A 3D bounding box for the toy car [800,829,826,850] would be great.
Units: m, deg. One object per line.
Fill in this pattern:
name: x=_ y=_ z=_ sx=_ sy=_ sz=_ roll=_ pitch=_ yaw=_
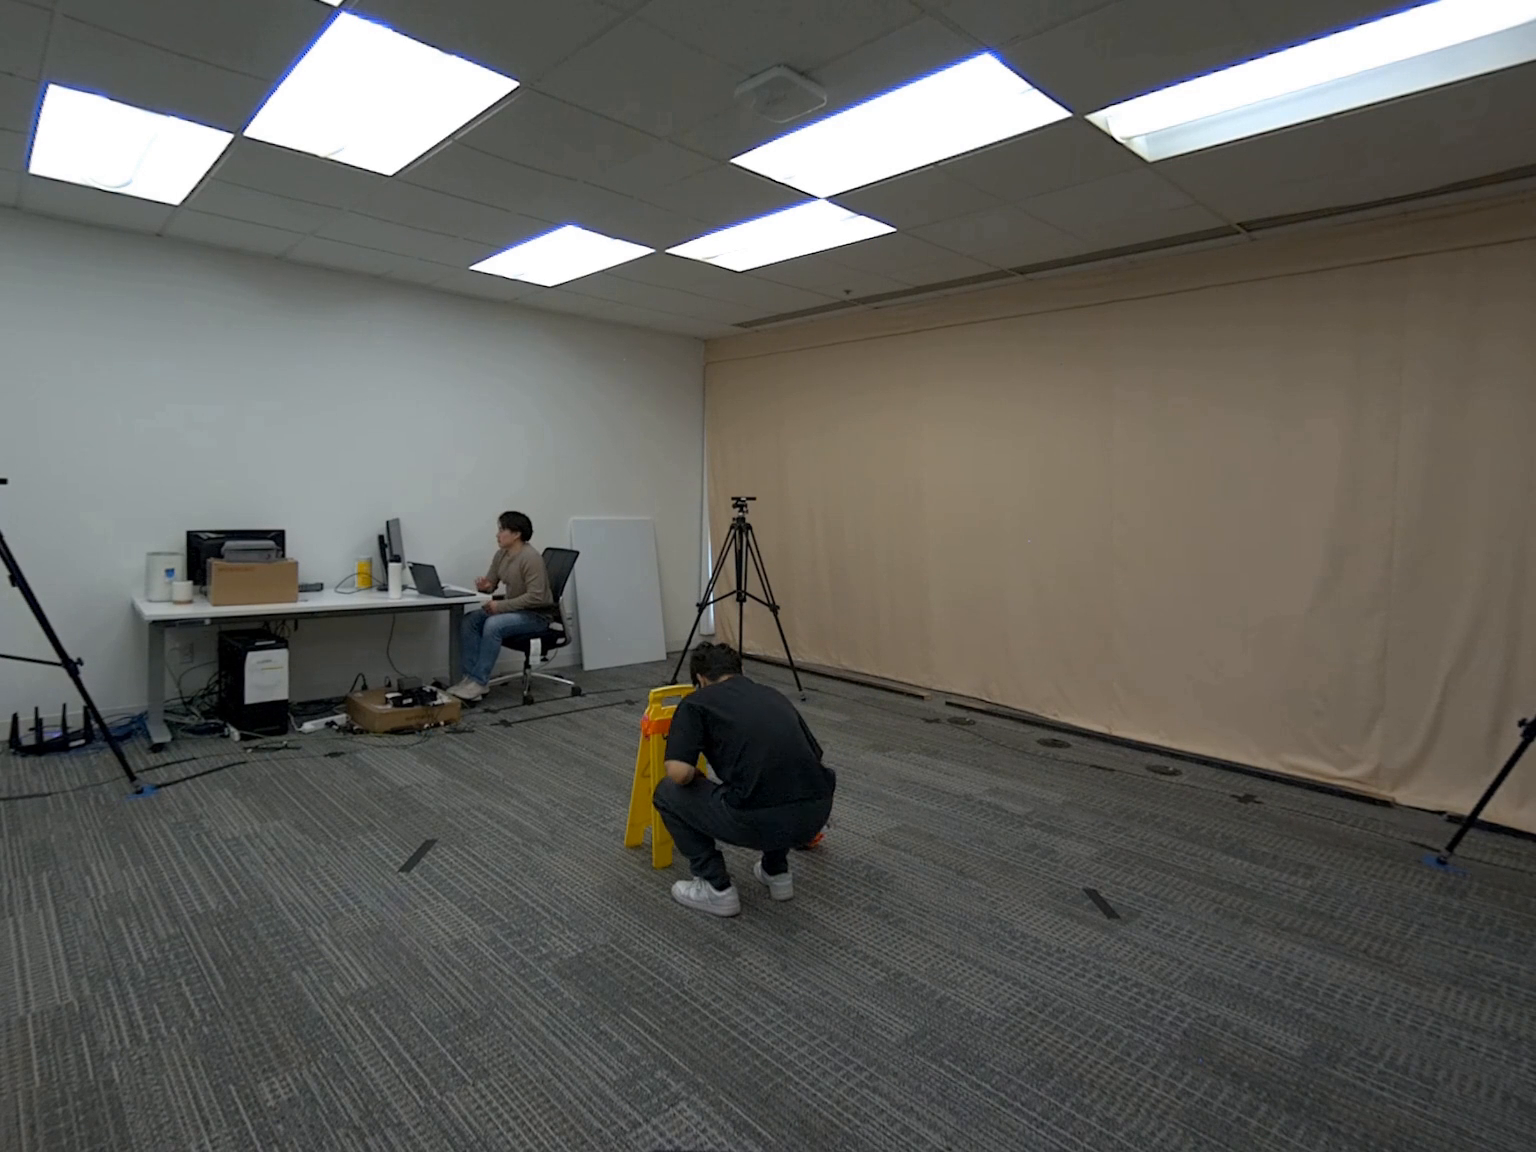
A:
toy car: x=0.102 y=1.060 z=3.425 sx=0.259 sy=0.083 sz=0.127 roll=-7 pitch=-3 yaw=35
